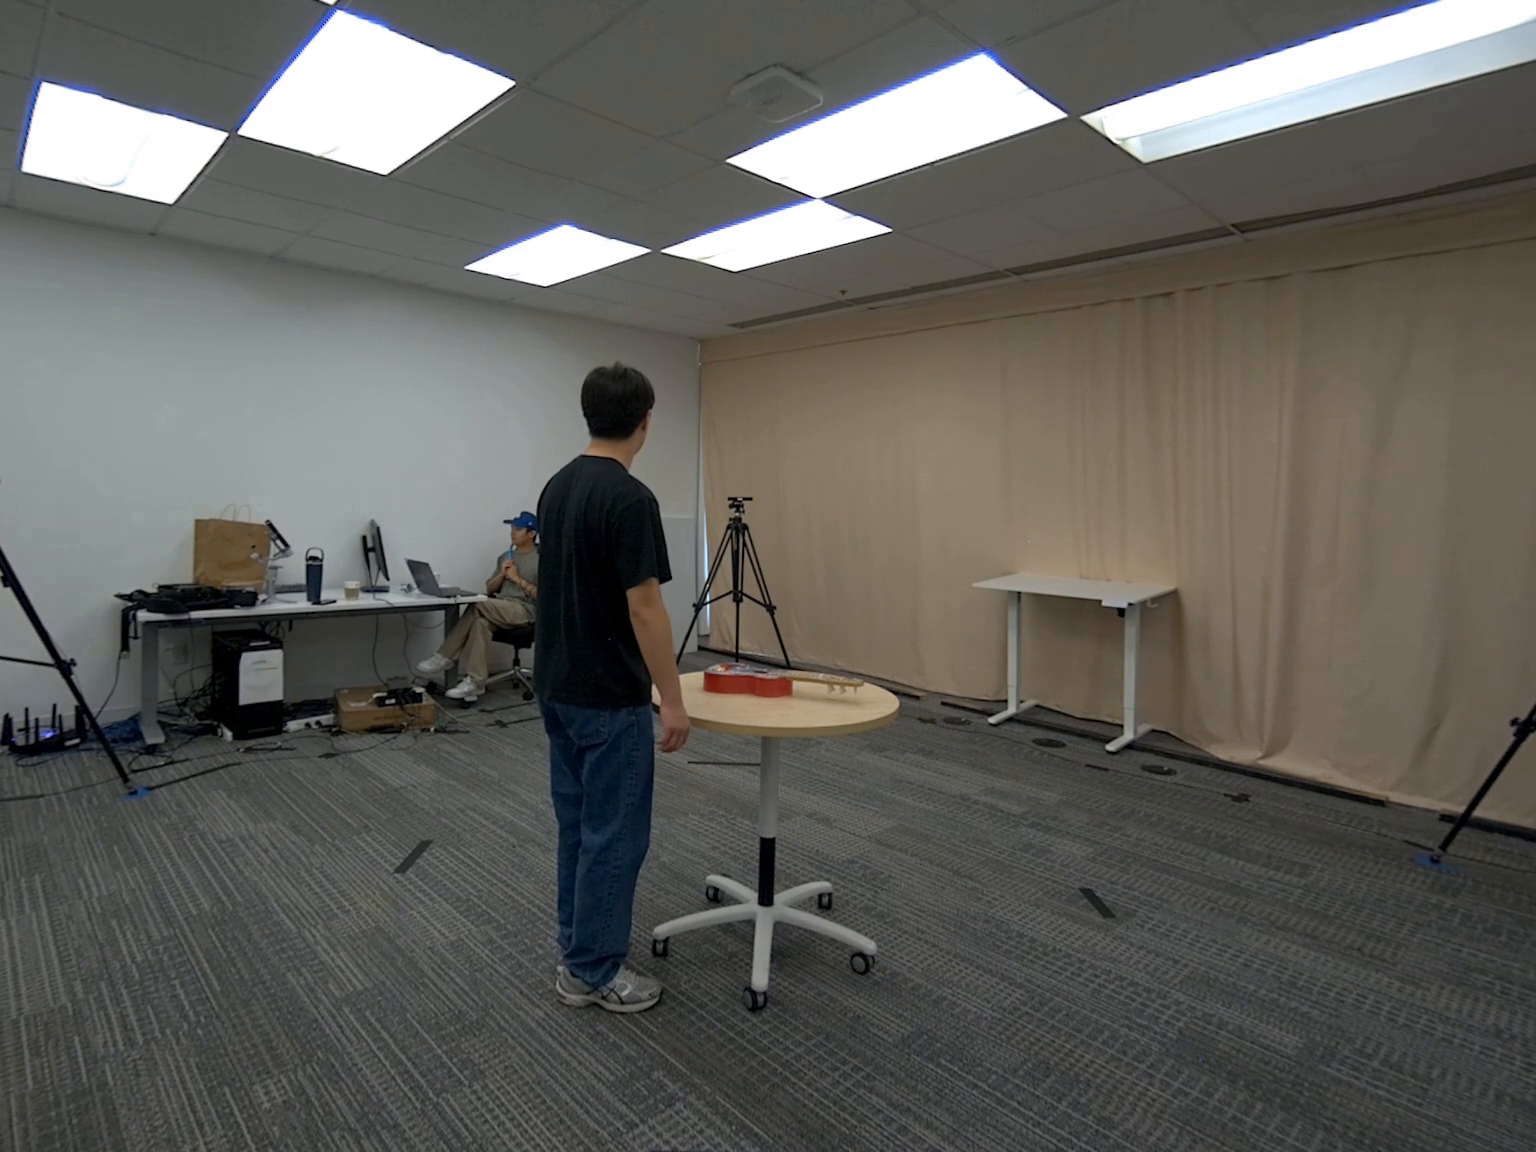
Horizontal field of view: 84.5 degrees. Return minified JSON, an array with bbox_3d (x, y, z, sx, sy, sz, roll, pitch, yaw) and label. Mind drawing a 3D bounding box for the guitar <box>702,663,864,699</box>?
[{"bbox_3d":[0.030,0.335,2.549,0.509,0.070,0.189,4,6,31],"label":"guitar"}]
